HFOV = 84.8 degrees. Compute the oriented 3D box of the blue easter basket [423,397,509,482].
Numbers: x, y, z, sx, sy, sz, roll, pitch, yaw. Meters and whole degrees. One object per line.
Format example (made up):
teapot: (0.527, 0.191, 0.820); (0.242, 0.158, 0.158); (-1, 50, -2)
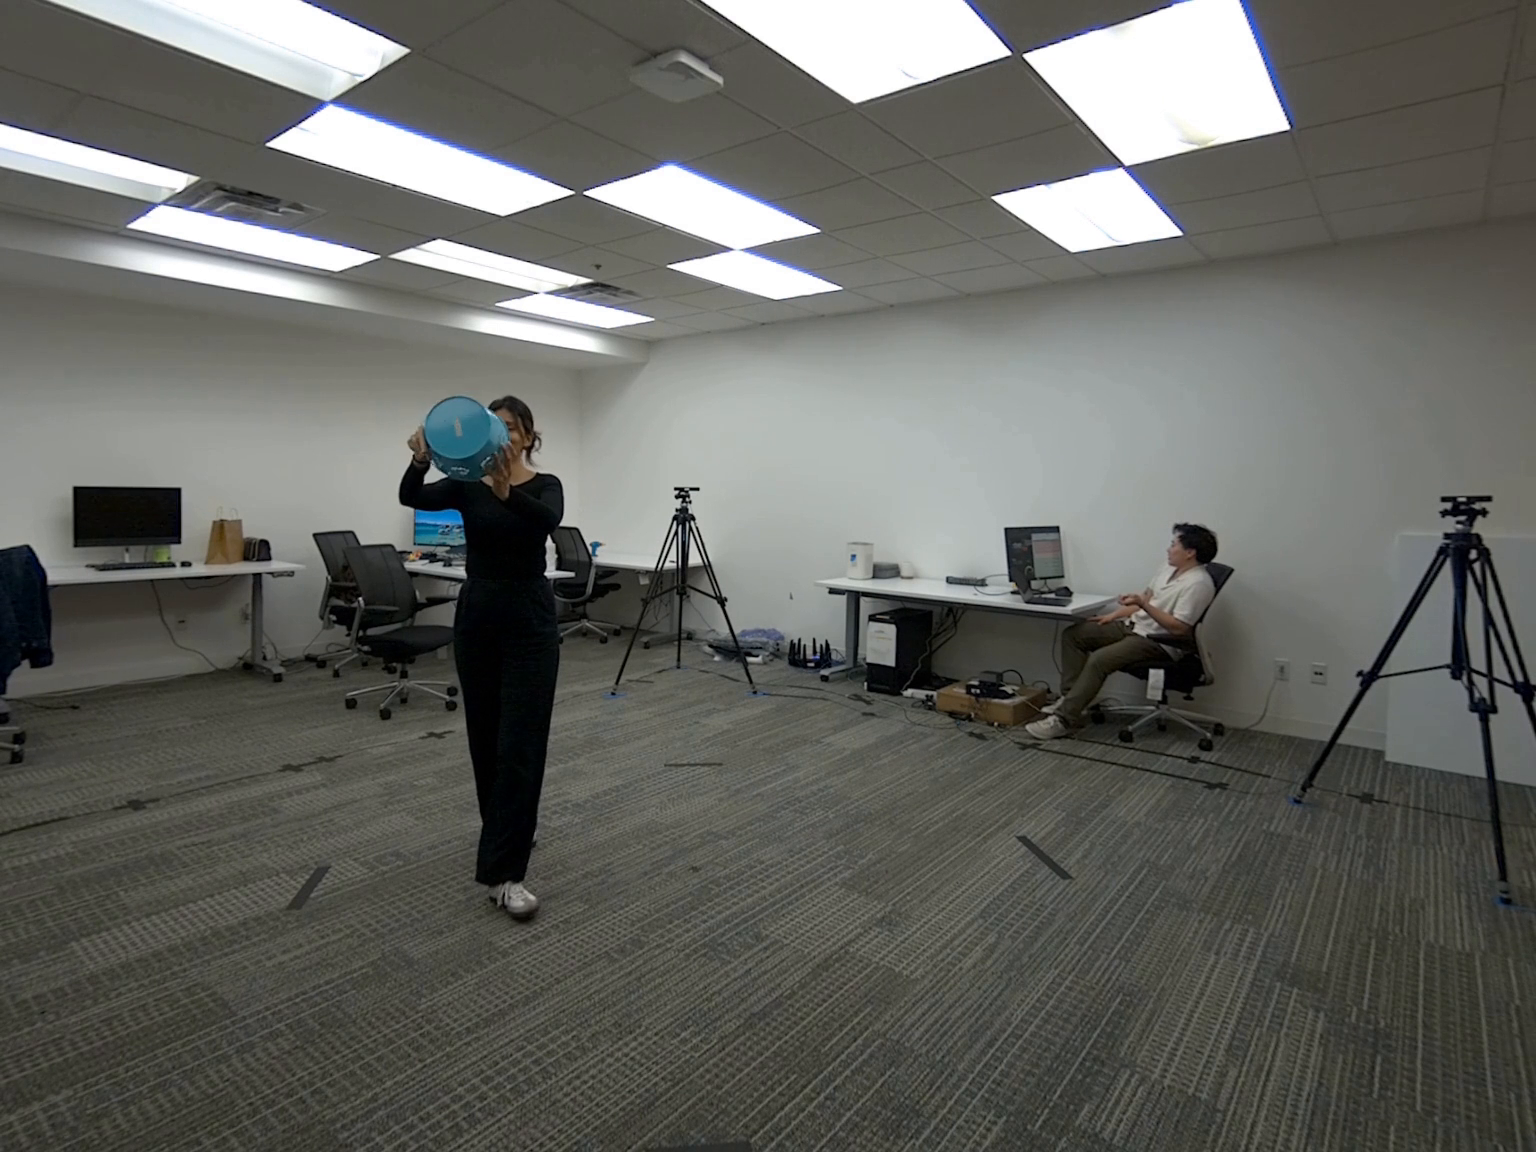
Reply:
blue easter basket: (-0.886, -0.401, 2.427); (0.242, 0.246, 0.155); (0, -9, -7)
